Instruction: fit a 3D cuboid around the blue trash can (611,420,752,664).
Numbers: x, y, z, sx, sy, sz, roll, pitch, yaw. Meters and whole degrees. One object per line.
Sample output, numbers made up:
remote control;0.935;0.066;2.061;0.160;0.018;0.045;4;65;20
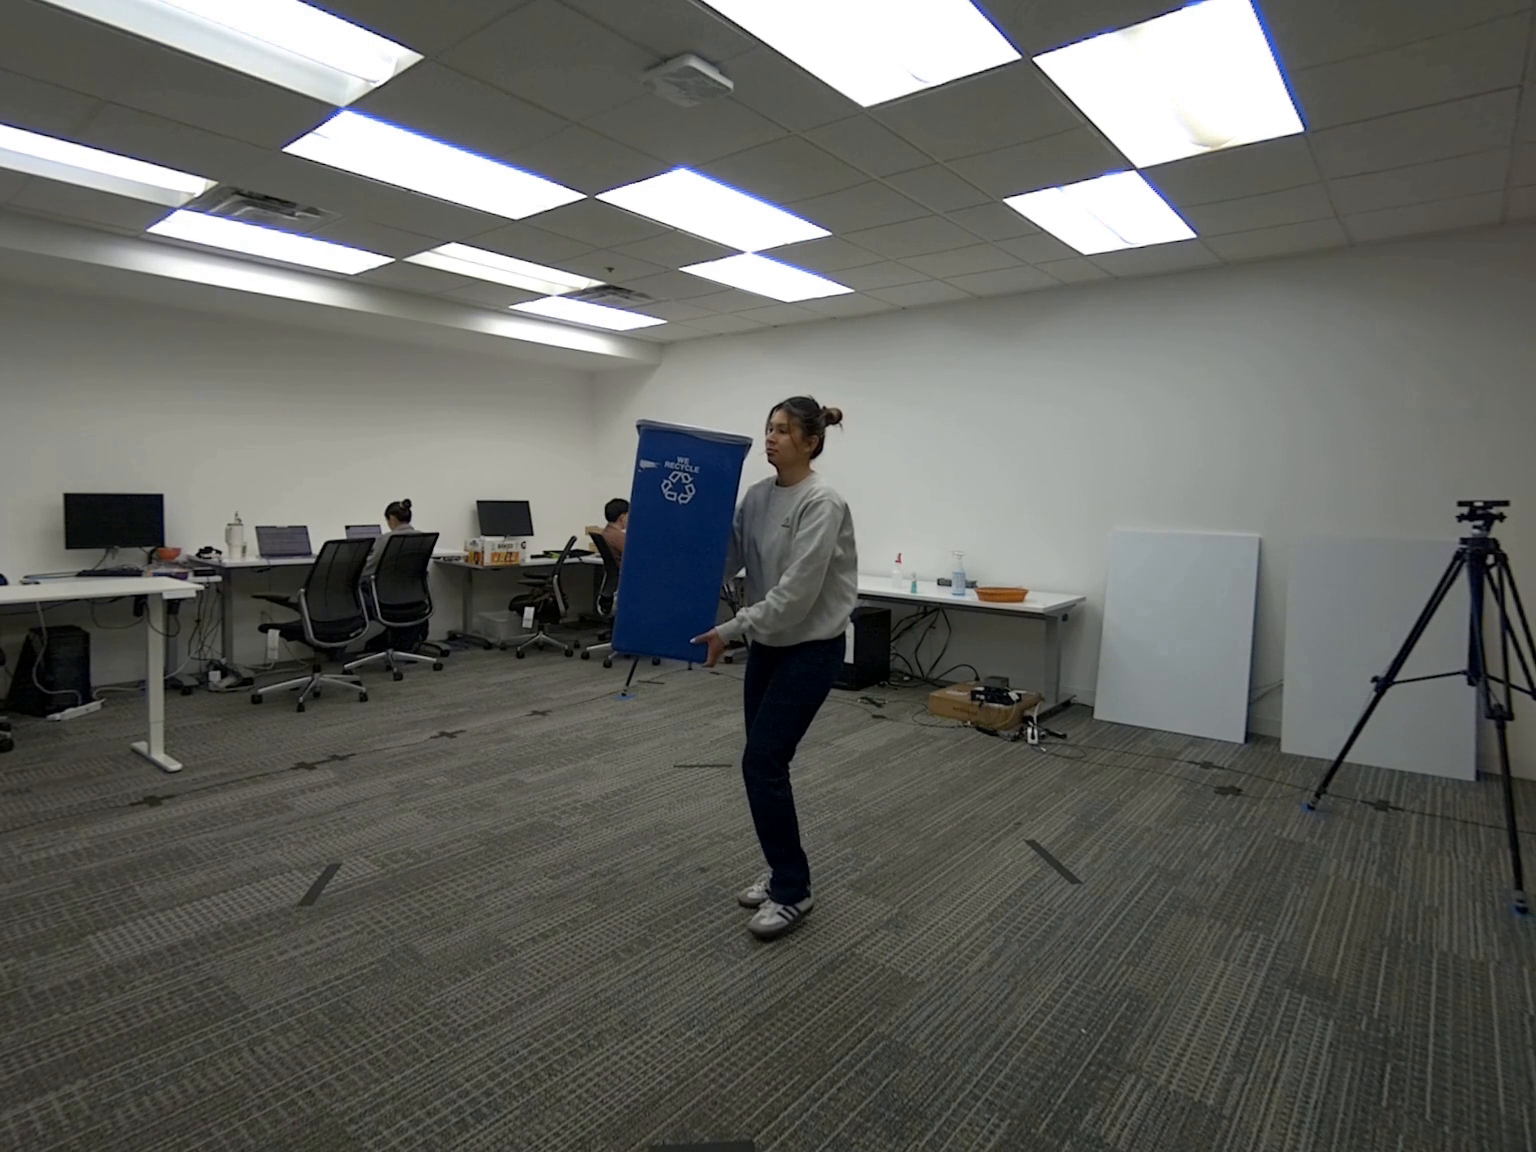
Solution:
blue trash can;-0.299;-0.102;2.756;0.373;0.715;0.379;8;-3;-4
